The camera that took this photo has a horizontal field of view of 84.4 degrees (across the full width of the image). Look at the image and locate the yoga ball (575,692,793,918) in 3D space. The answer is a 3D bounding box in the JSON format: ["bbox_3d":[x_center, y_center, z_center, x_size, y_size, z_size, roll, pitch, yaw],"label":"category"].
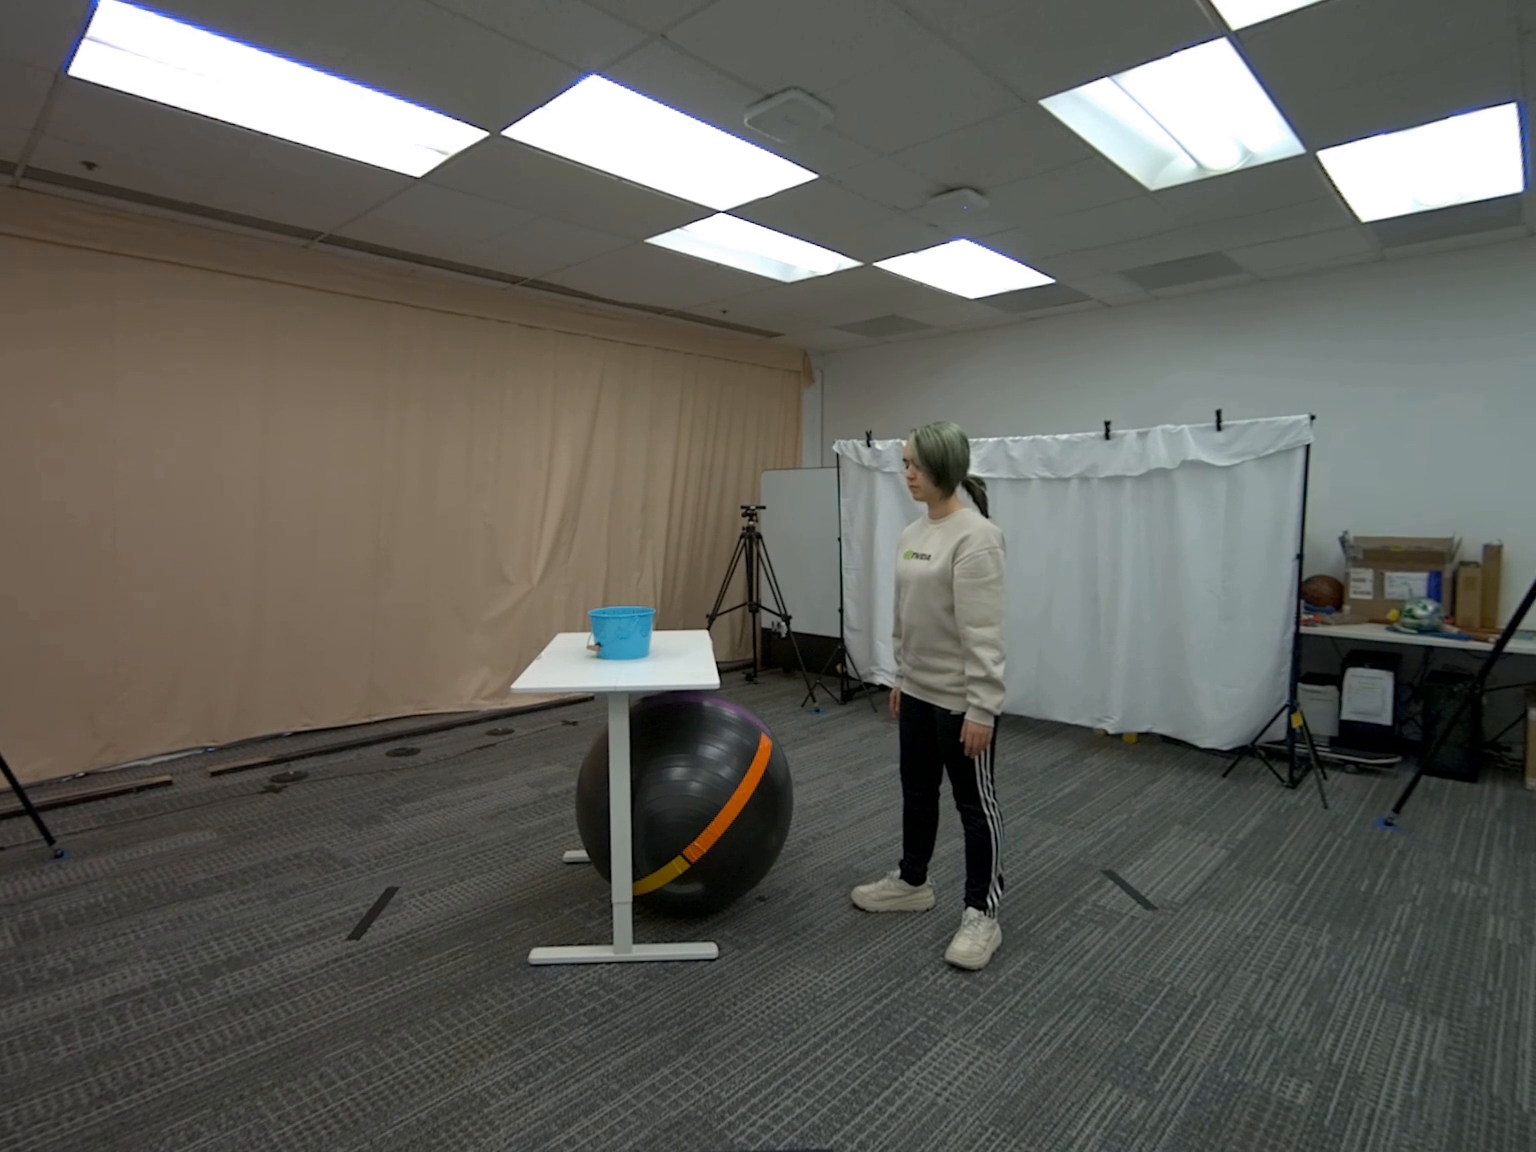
[{"bbox_3d":[-0.288,0.776,2.946,0.757,0.756,0.760,0,4,-2],"label":"yoga ball"}]
